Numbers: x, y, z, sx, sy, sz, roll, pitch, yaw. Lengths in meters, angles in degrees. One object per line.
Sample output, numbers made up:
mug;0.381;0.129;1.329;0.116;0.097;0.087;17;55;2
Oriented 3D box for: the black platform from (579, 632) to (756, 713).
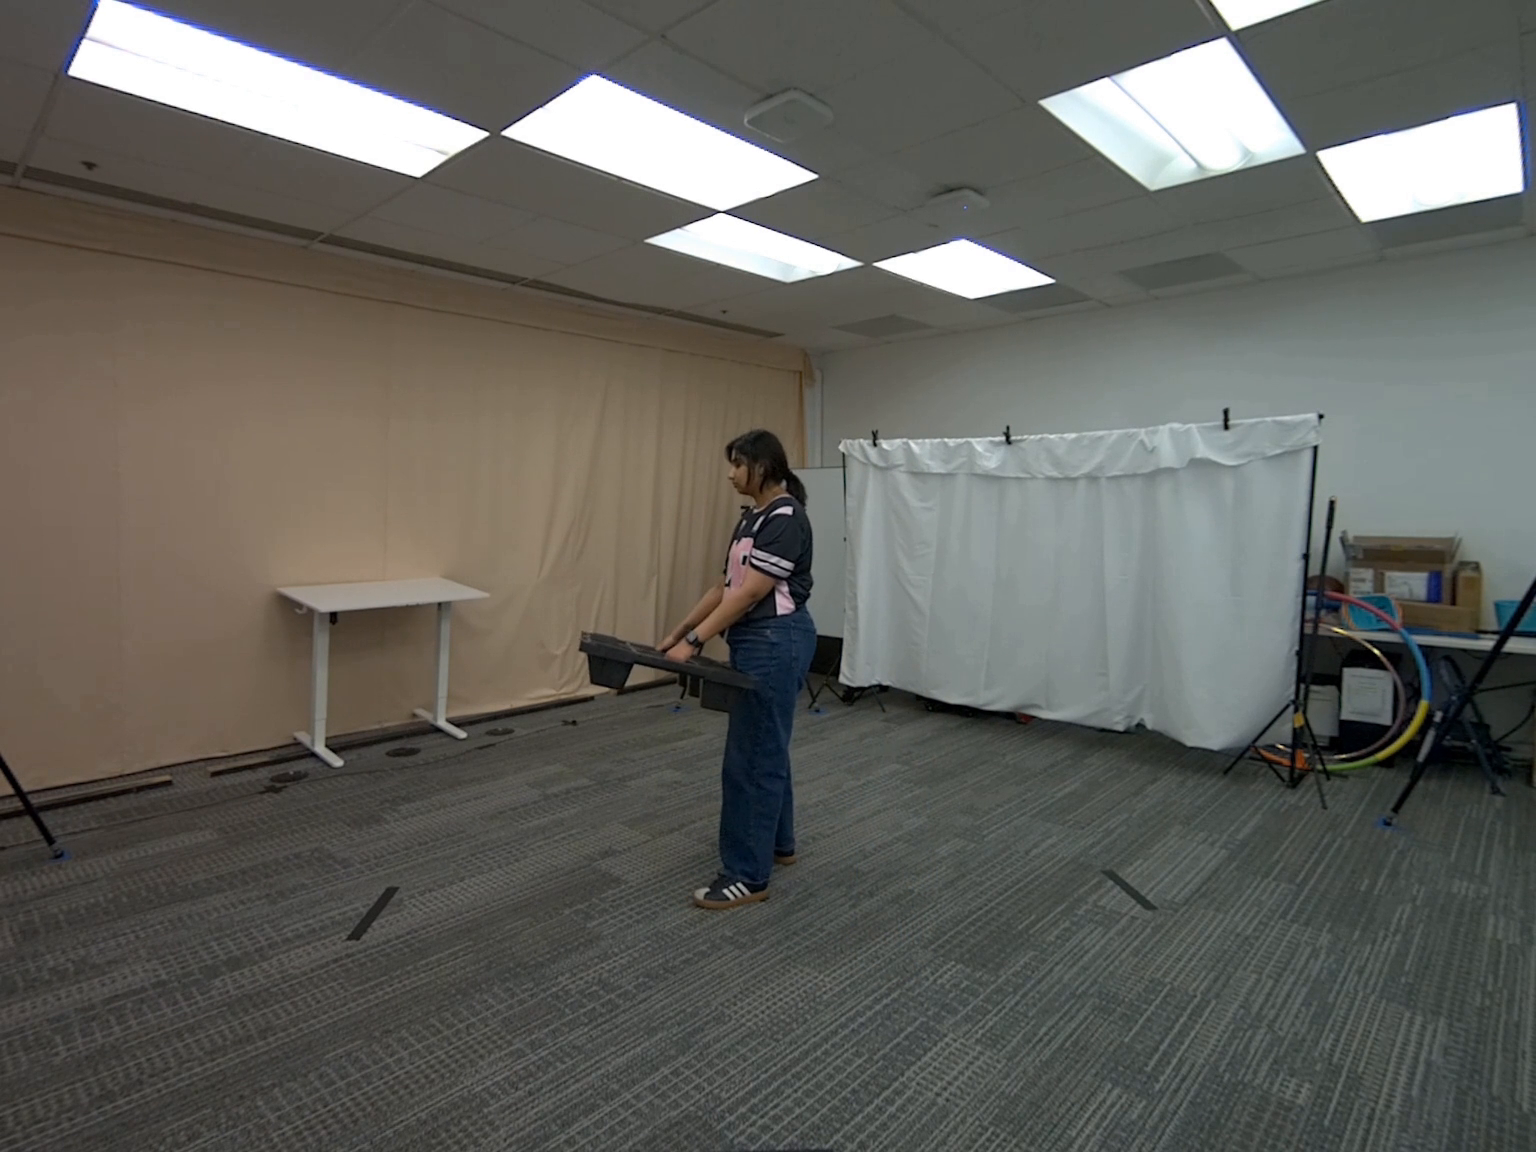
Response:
black platform;-0.410;0.346;3.090;0.599;0.143;0.813;13;-5;-10
